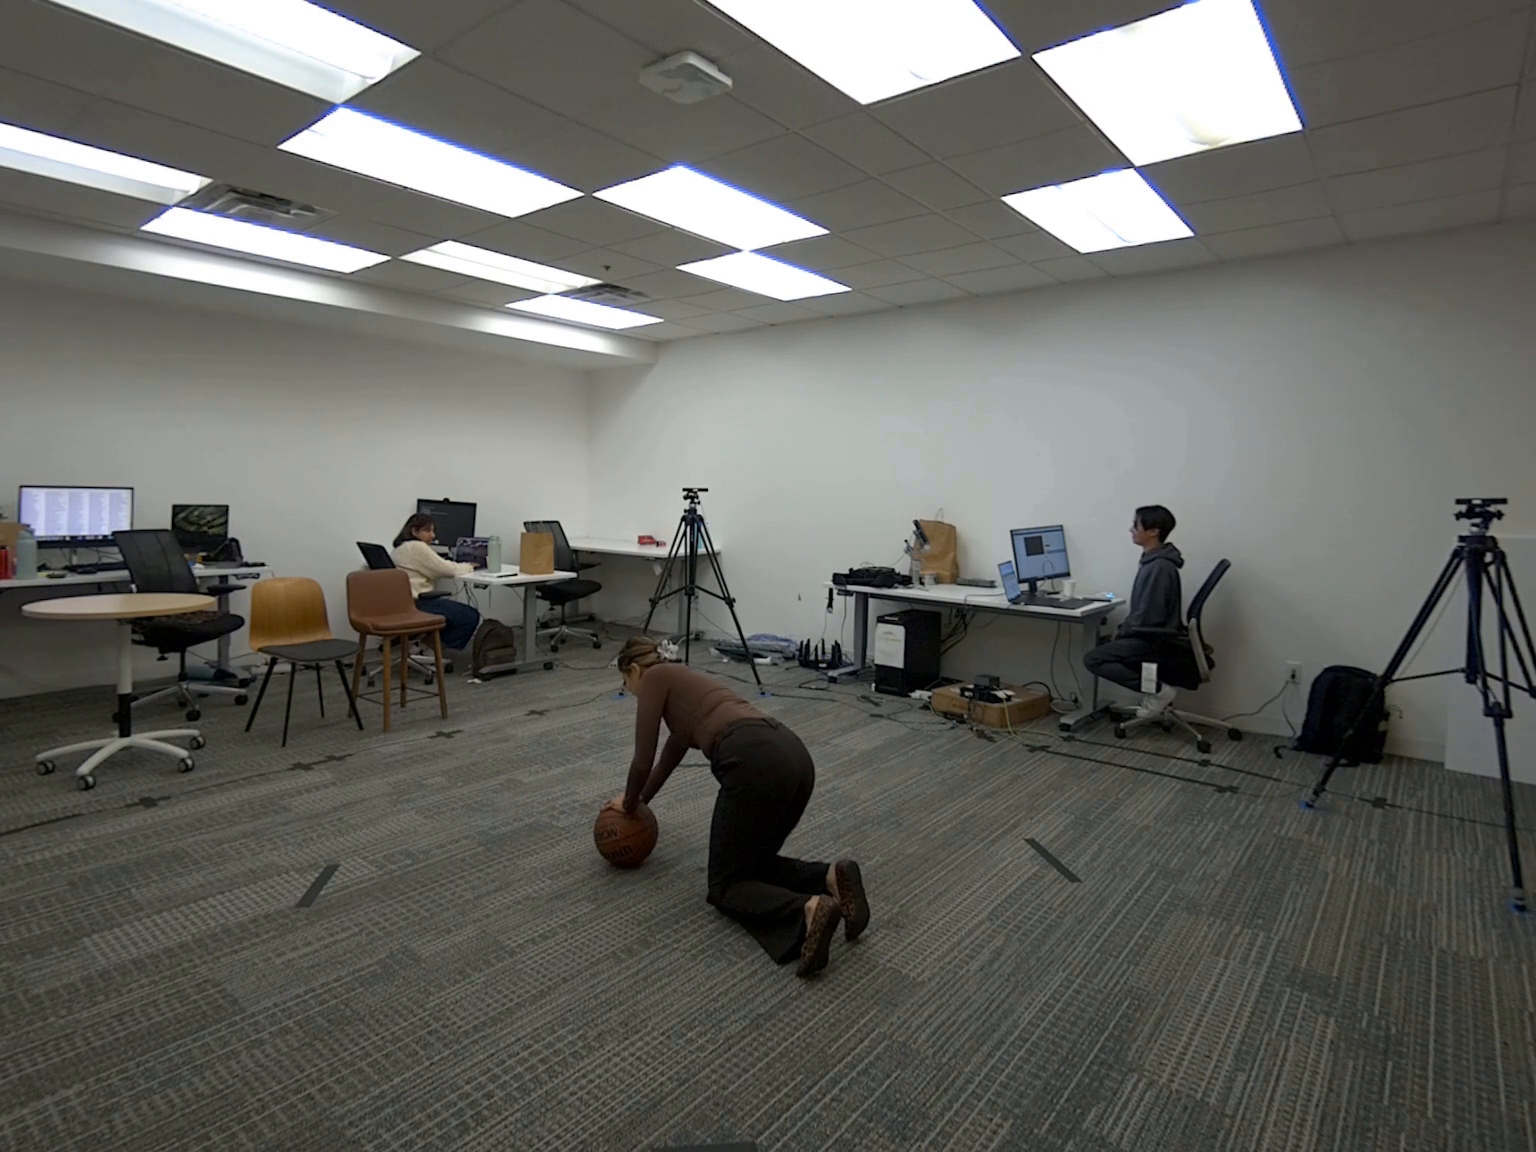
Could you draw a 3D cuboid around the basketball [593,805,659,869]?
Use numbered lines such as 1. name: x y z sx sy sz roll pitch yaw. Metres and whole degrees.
1. basketball: -0.538 0.937 3.145 0.236 0.235 0.237 1 4 -2
